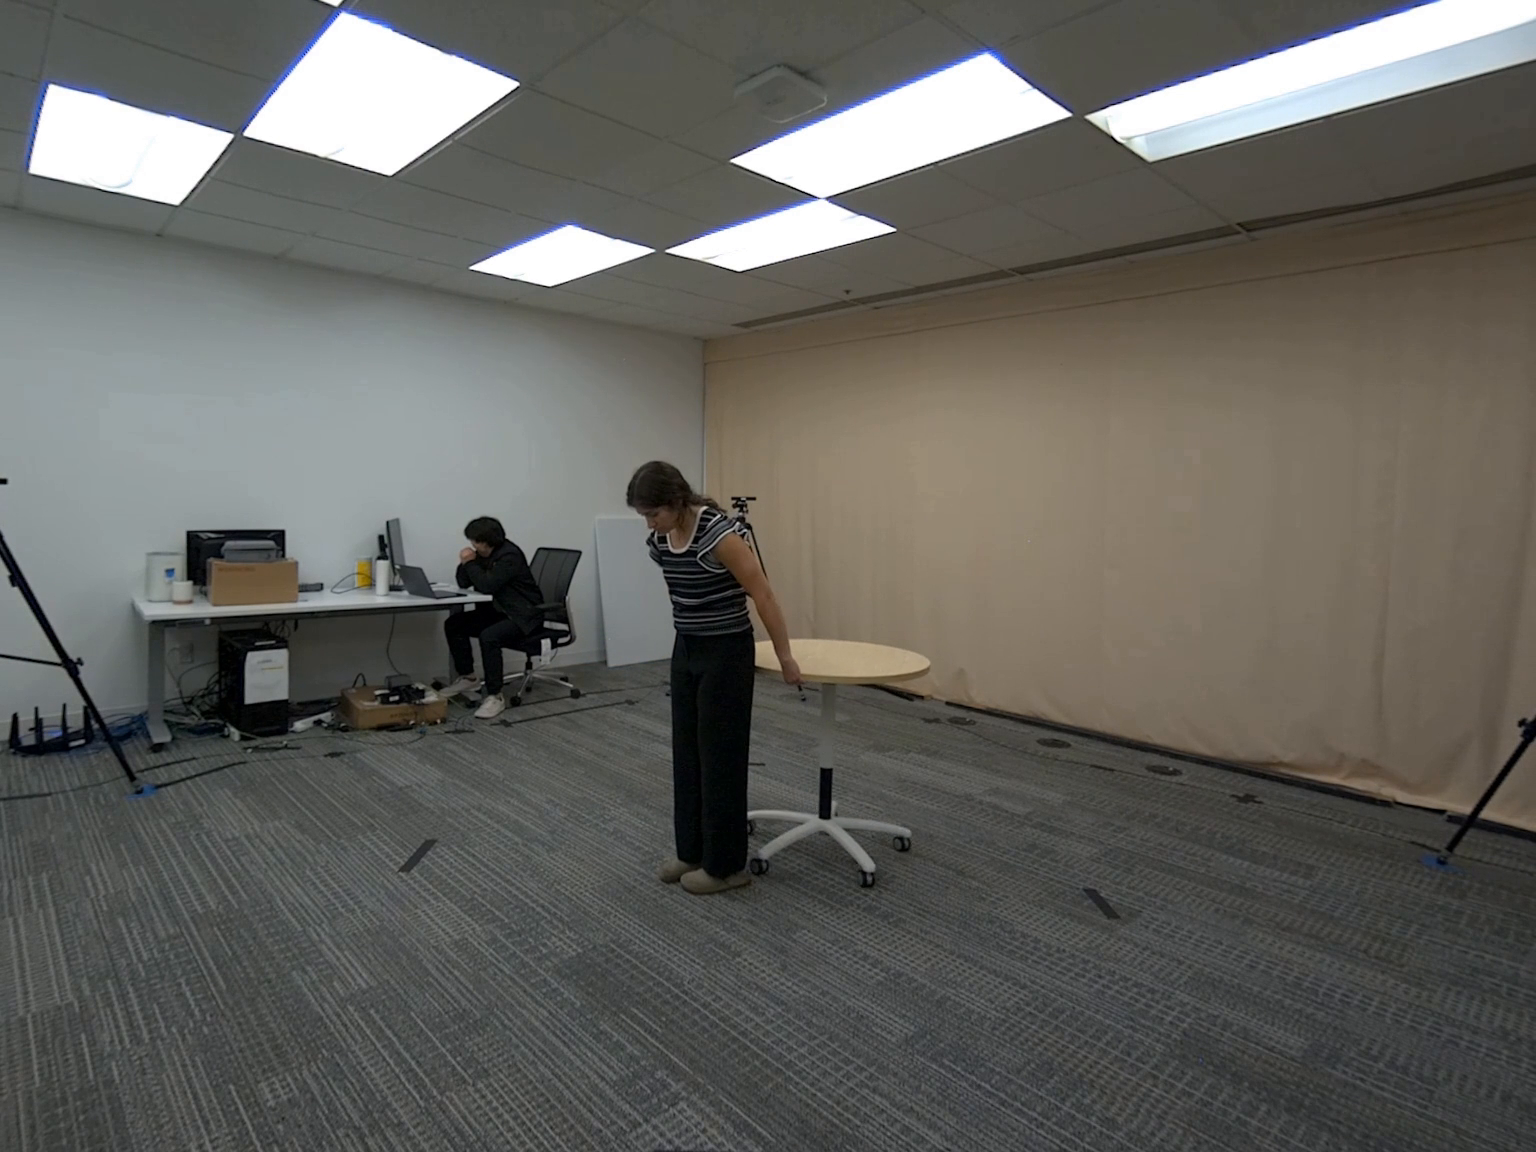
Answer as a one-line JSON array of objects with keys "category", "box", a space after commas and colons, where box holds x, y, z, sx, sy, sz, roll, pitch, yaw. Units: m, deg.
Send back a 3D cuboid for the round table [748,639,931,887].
[{"category": "round table", "box": [0.209, 0.701, 3.310, 0.784, 0.784, 0.787, 2, 4, -1]}]
